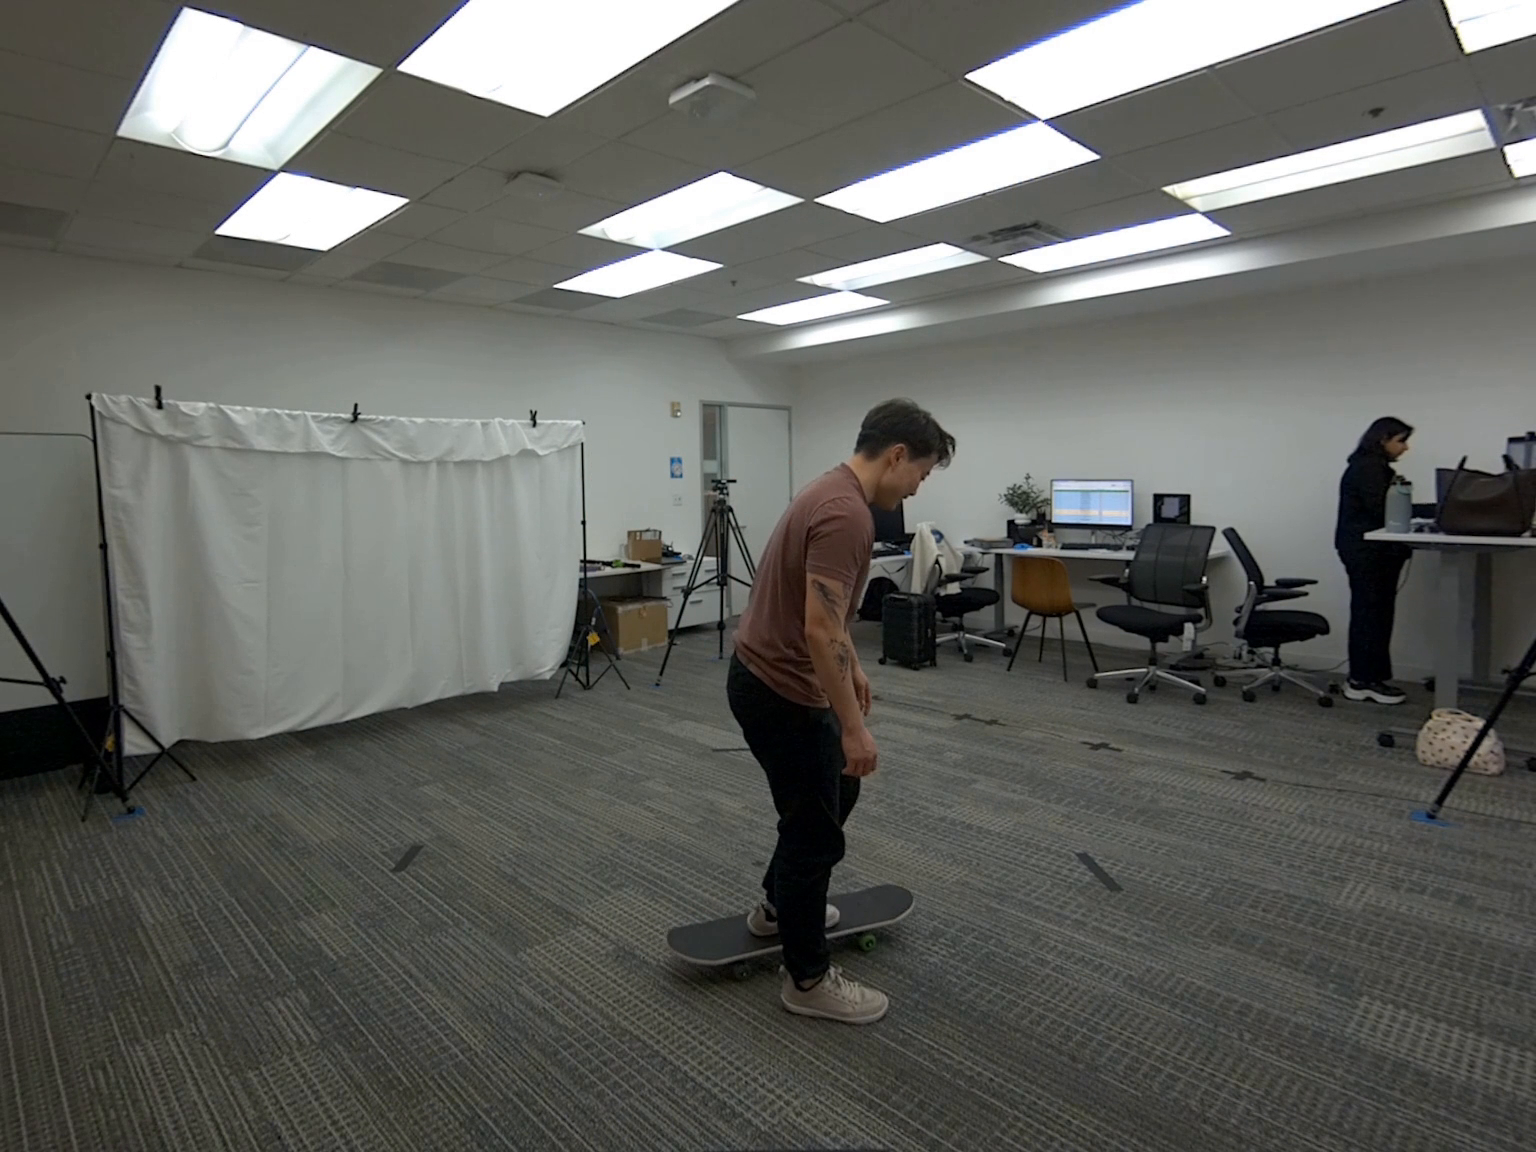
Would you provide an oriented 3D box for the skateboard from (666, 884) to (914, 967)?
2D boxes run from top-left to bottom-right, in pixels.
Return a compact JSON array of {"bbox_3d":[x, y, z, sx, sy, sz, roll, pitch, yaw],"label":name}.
[{"bbox_3d":[0.085,1.051,2.526,0.771,0.110,0.198,-2,8,-20],"label":"skateboard"}]
